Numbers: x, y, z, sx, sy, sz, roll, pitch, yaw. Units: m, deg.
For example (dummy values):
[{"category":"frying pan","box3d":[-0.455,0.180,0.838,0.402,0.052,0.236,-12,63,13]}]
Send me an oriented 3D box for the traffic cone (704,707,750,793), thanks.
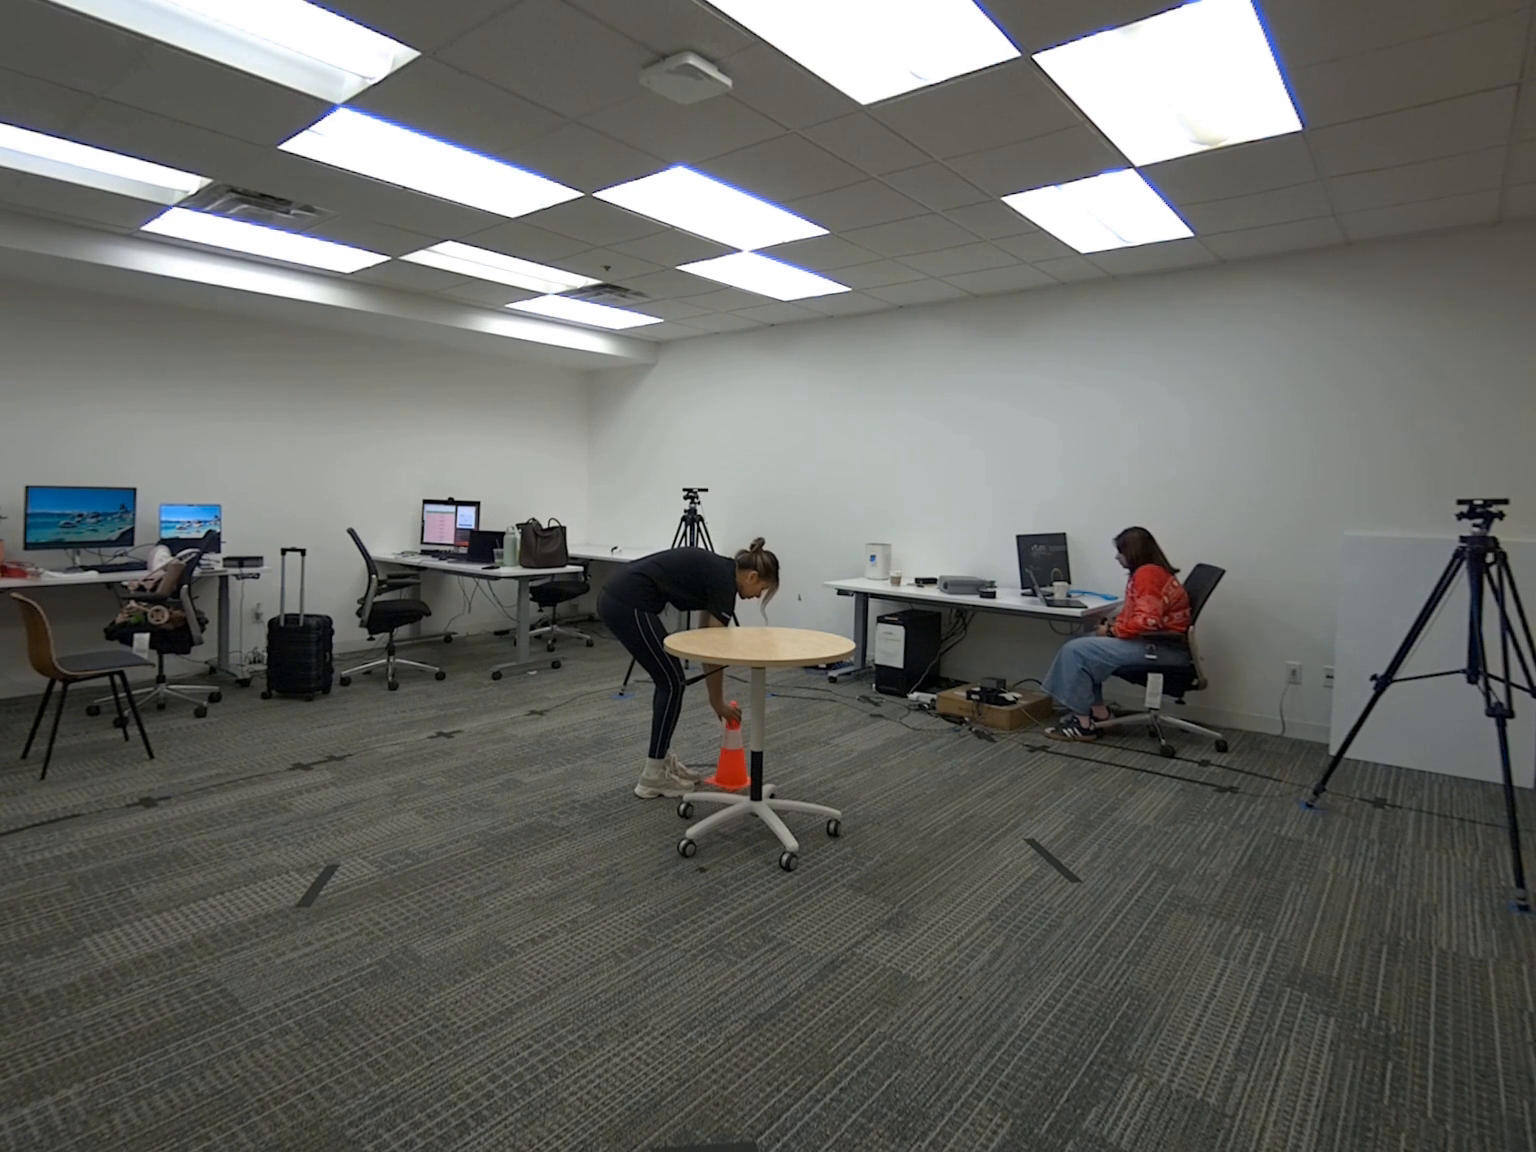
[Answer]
[{"category":"traffic cone","box3d":[-0.179,0.802,4.084,0.197,0.384,0.212,1,1,-45]}]
